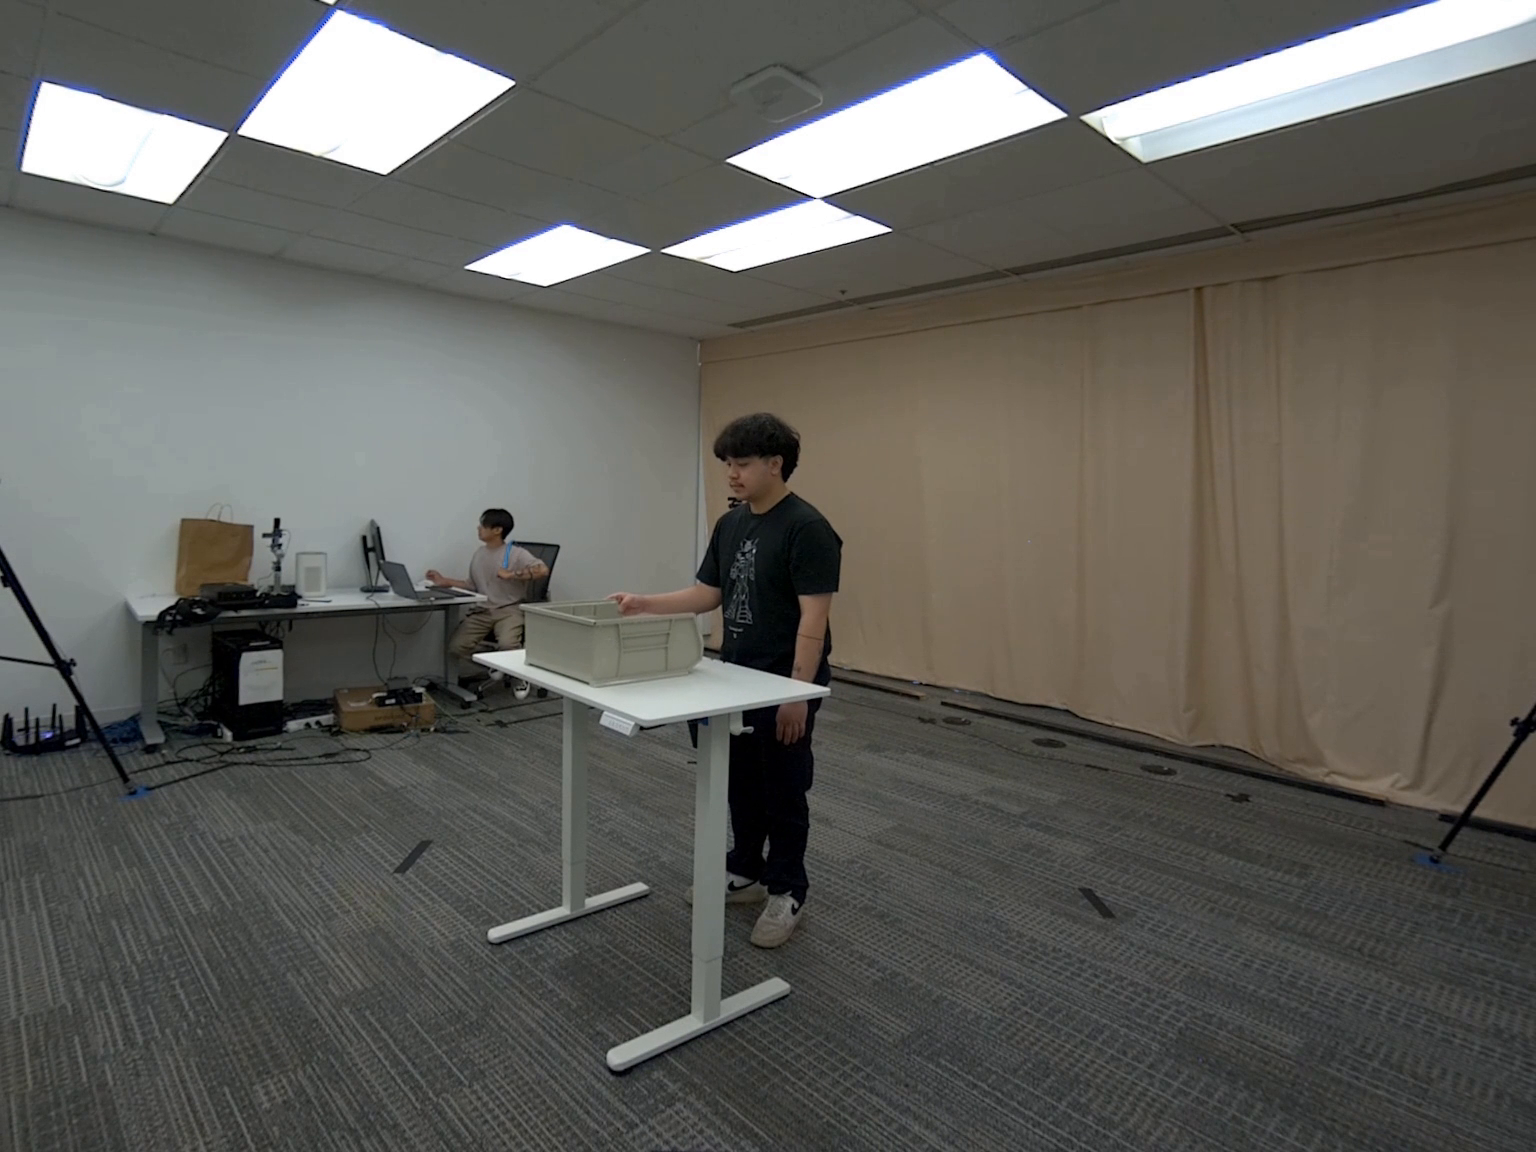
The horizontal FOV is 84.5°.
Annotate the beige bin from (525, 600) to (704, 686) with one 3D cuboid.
[{"bbox_3d":[-0.465,0.186,2.487,0.369,0.188,0.433,-3,7,-40],"label":"beige bin"}]
